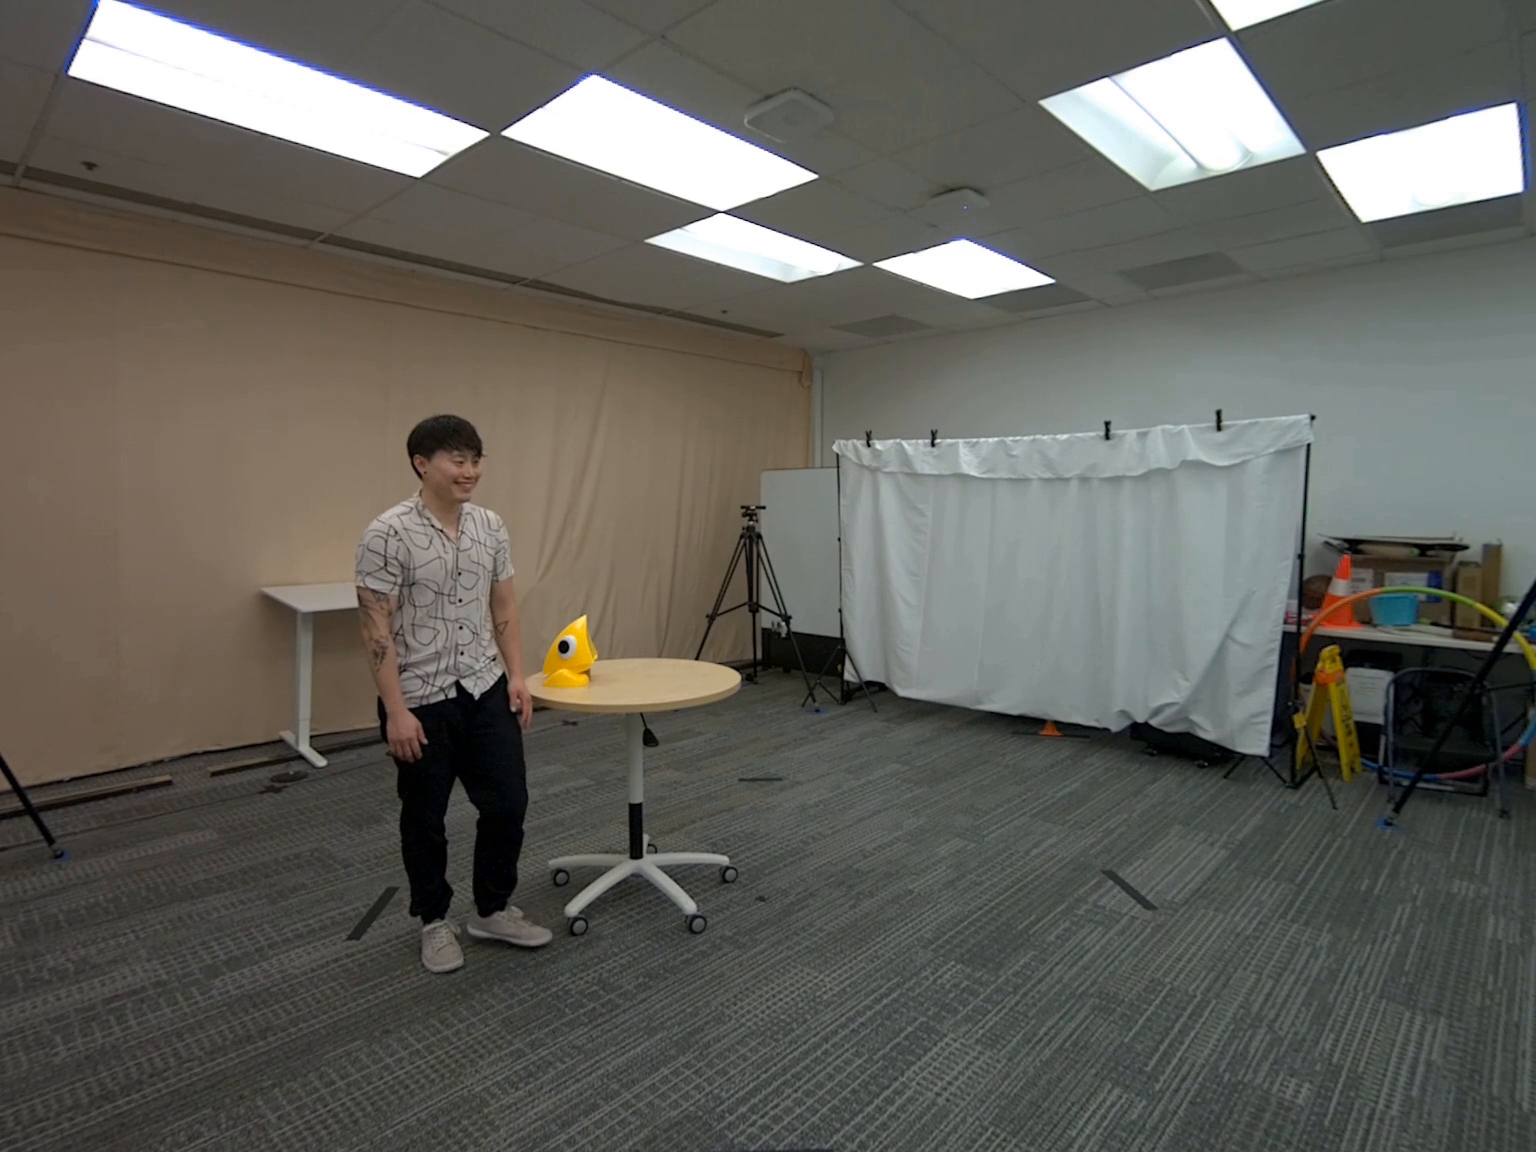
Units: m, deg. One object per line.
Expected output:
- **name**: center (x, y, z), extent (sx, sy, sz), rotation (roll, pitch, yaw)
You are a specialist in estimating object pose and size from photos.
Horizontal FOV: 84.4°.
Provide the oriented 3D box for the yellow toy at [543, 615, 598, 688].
- **yellow toy**: center (-0.698, 0.254, 2.950), extent (0.192, 0.230, 0.206), rotation (-1, 4, -6)
